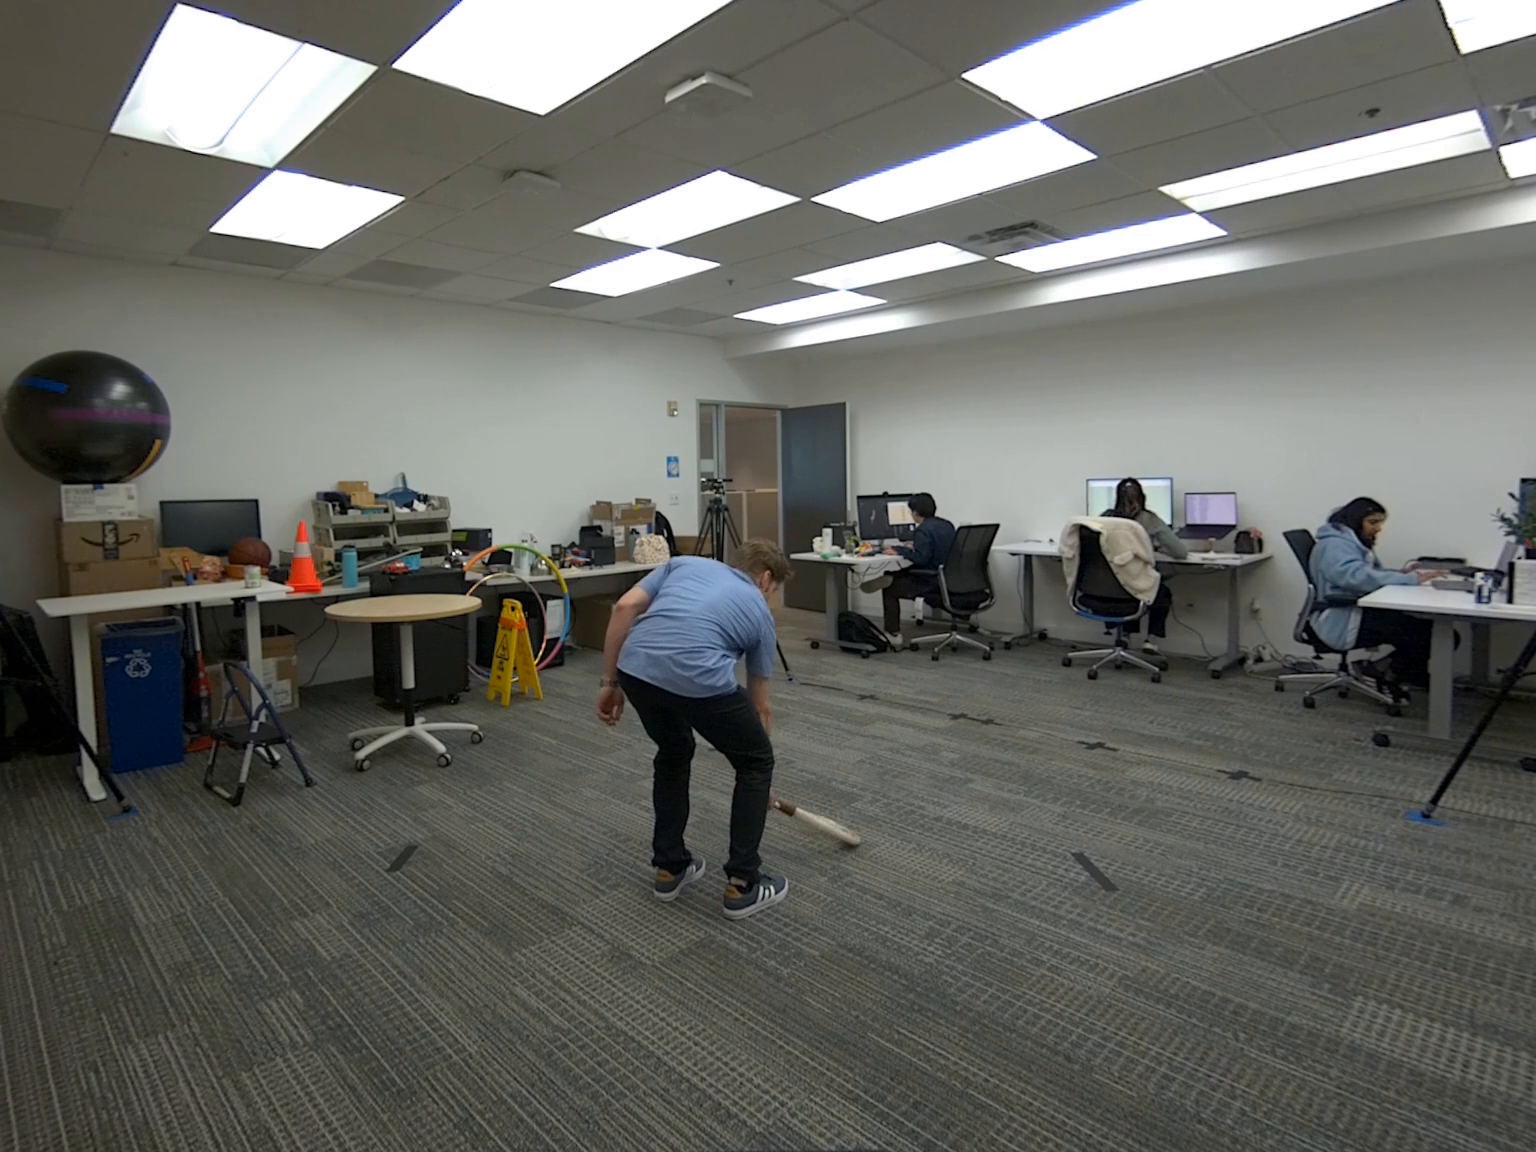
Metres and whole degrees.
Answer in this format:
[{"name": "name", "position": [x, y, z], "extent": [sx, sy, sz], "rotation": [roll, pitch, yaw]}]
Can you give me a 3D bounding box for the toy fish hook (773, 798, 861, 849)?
[{"name": "toy fish hook", "position": [0.128, 0.898, 3.243], "extent": [0.499, 0.048, 0.227], "rotation": [27, -10, -13]}]
